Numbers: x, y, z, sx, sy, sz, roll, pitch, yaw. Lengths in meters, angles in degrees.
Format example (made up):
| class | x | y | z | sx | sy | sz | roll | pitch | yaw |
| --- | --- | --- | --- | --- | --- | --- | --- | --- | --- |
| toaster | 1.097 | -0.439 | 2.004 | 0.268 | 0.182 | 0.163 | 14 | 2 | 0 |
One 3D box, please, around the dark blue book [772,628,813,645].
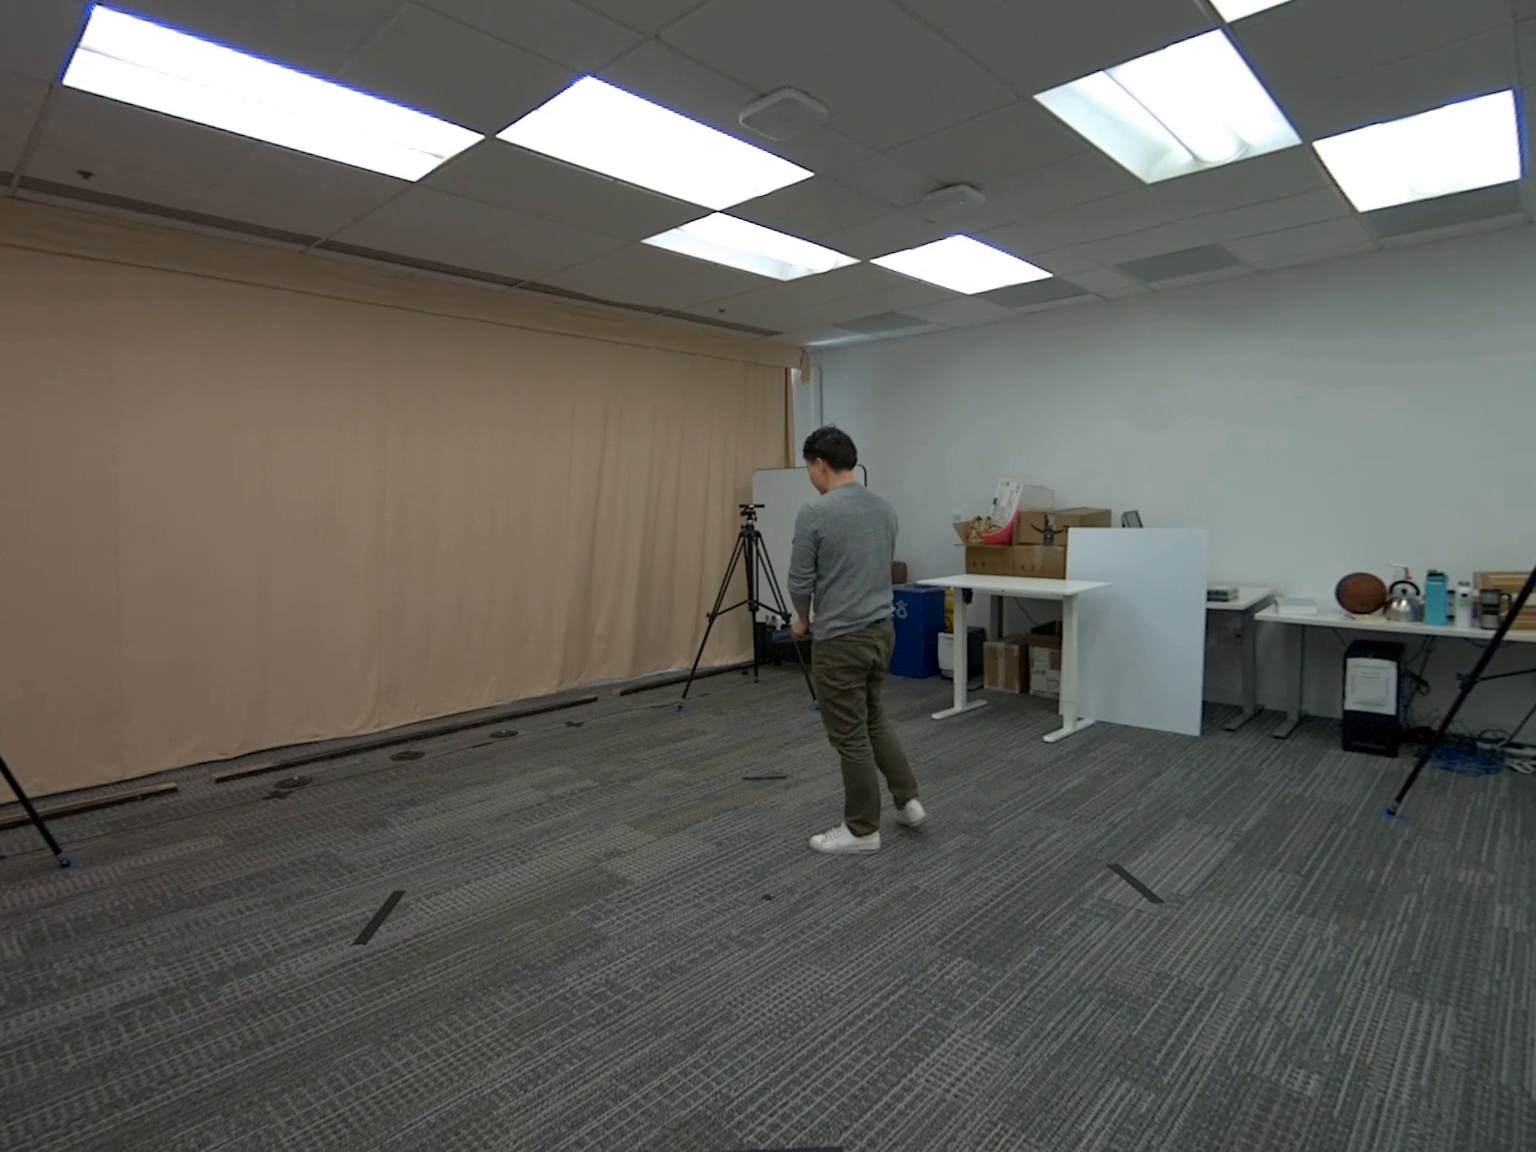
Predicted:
| class | x | y | z | sx | sy | sz | roll | pitch | yaw |
| --- | --- | --- | --- | --- | --- | --- | --- | --- | --- |
| dark blue book | 0.150 | 0.249 | 3.613 | 0.159 | 0.045 | 0.250 | -1 | -10 | -29 |
